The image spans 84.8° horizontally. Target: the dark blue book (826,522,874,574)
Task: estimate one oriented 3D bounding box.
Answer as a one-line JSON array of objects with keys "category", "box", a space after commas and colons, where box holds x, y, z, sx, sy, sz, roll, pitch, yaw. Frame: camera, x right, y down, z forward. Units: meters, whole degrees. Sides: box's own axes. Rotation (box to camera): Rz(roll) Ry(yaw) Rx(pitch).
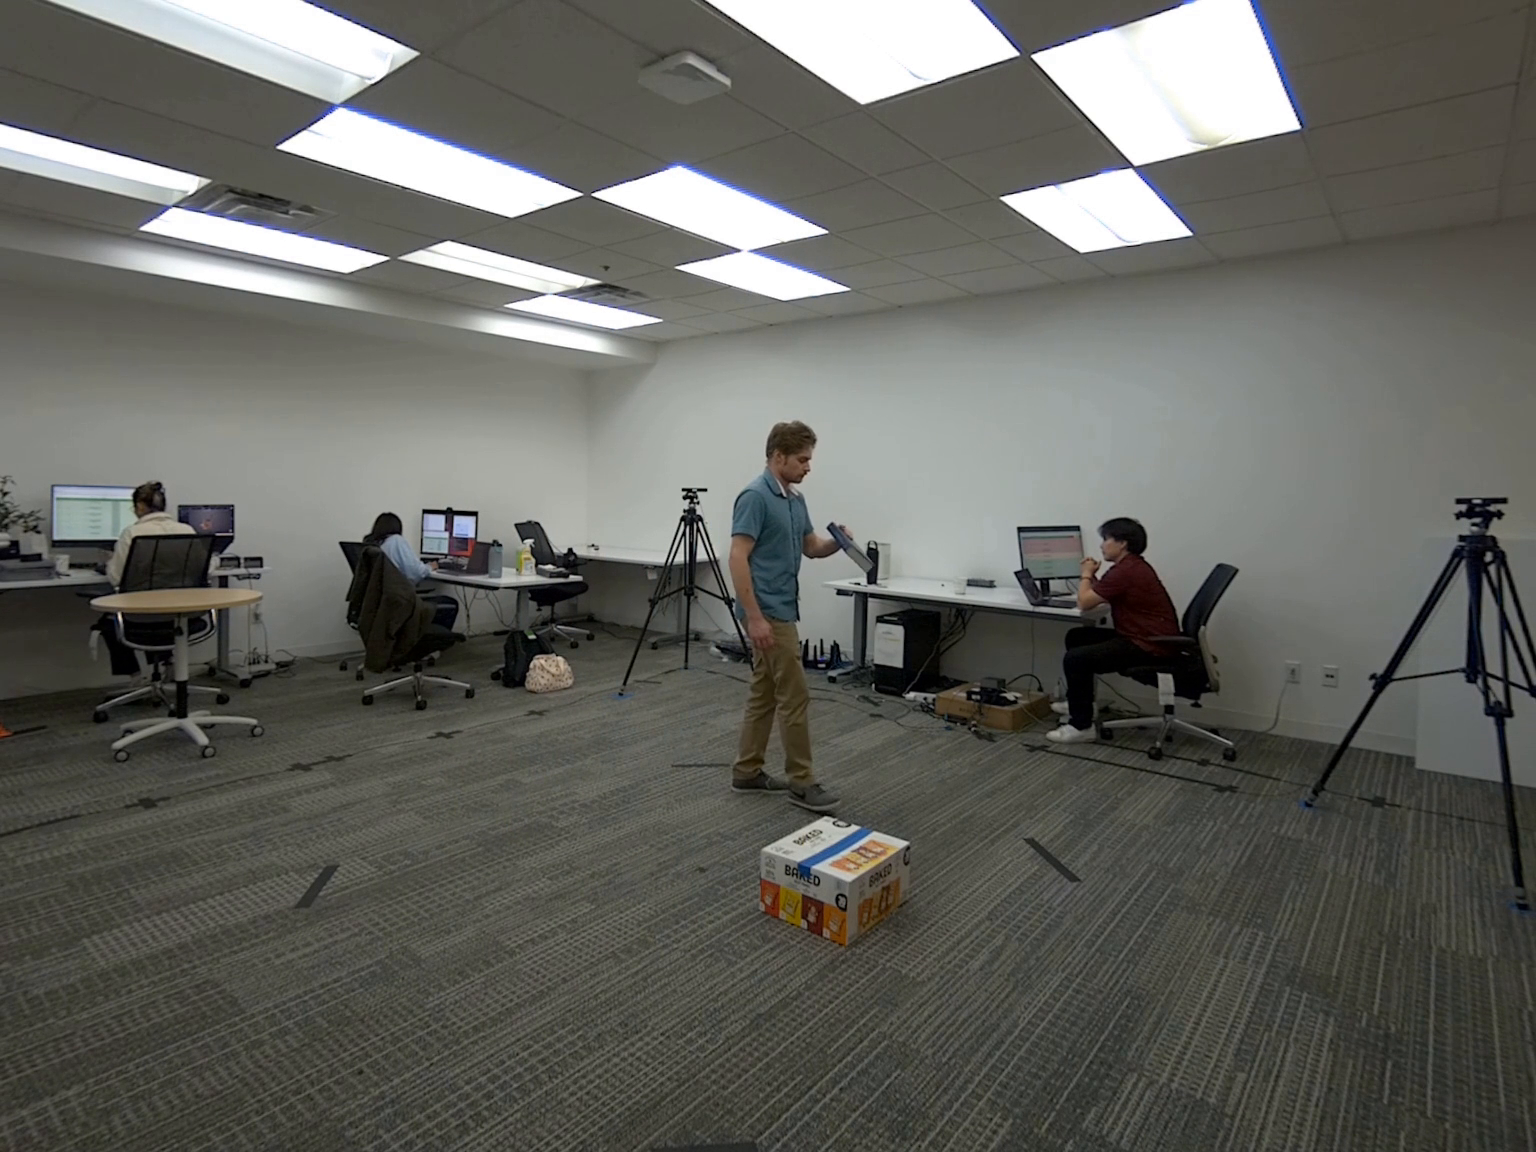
[{"category": "dark blue book", "box": [0.349, -0.125, 3.673, 0.158, 0.045, 0.253, 40, 13, -27]}]
